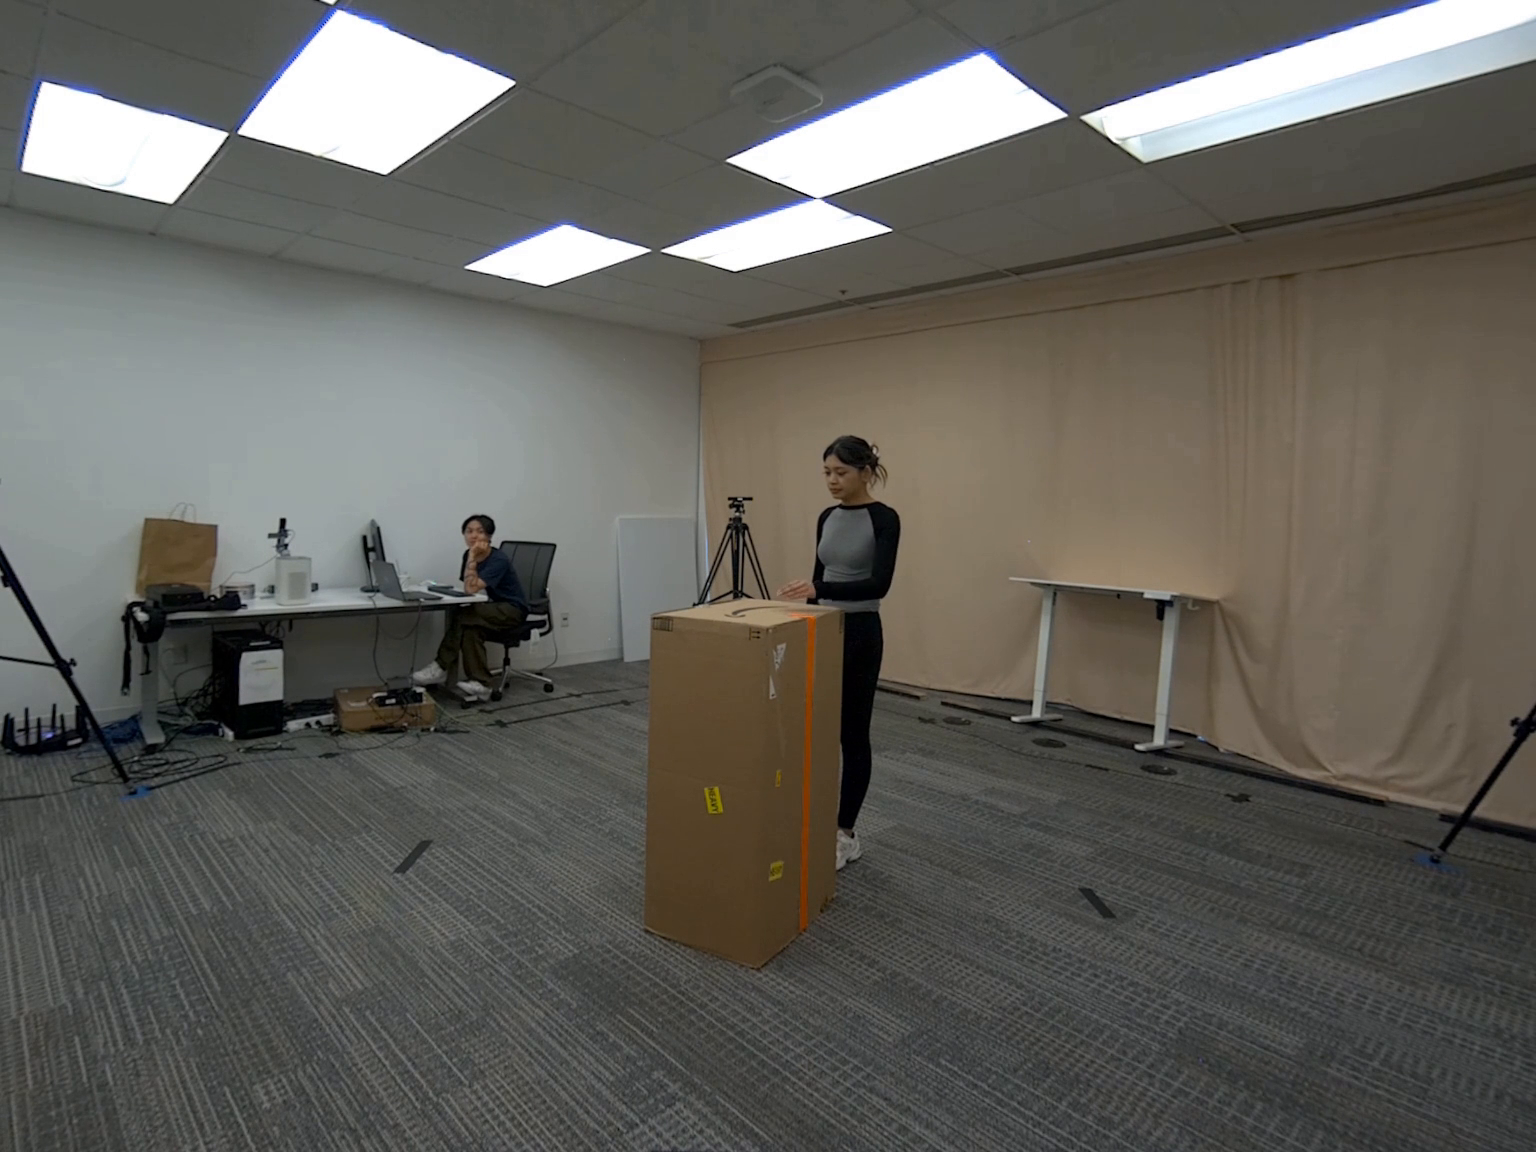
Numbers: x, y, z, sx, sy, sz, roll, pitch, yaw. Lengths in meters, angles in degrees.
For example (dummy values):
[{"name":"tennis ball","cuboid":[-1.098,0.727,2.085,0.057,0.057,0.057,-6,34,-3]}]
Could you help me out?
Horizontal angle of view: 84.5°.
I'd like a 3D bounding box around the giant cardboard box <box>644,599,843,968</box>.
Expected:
[{"name":"giant cardboard box","cuboid":[-0.069,0.630,2.805,0.456,1.025,0.573,2,3,29]}]
